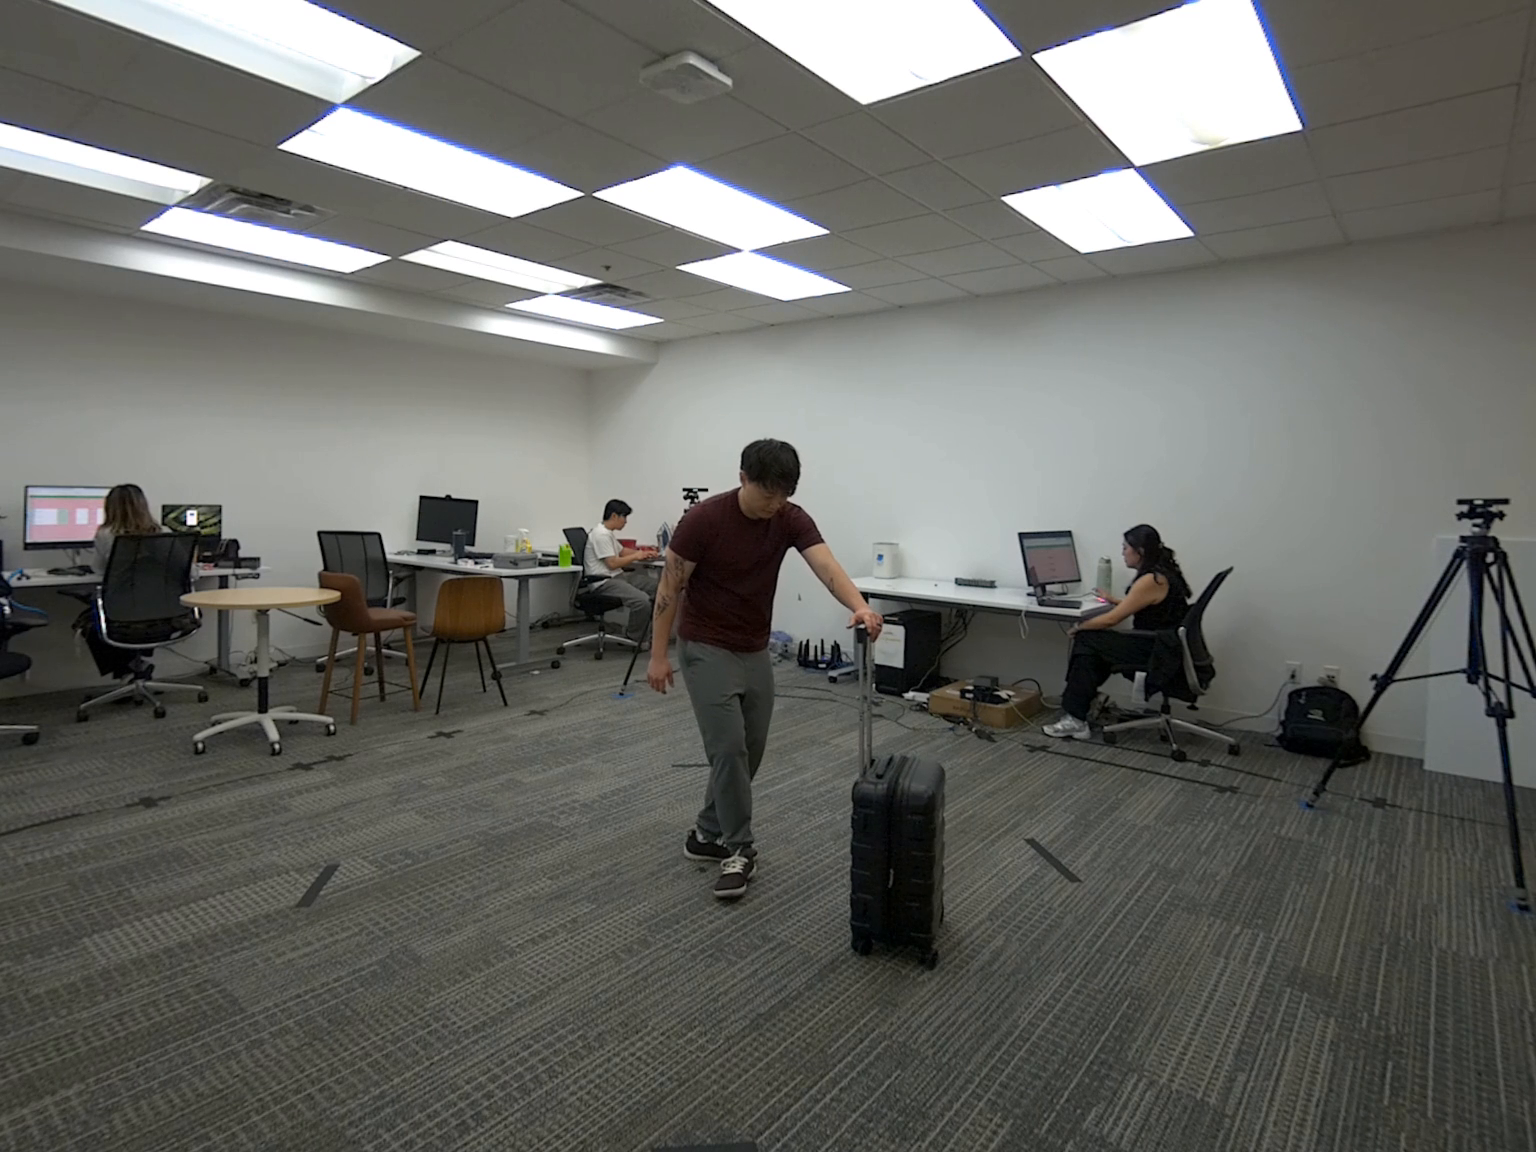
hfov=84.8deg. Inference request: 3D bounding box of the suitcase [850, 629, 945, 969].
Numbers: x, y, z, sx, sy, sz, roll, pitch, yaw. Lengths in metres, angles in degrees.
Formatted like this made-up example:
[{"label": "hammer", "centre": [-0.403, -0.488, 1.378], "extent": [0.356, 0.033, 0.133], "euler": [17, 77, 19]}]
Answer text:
[{"label": "suitcase", "centre": [0.408, 0.651, 2.633], "extent": [0.262, 0.974, 0.378], "euler": [2, 5, 17]}]
